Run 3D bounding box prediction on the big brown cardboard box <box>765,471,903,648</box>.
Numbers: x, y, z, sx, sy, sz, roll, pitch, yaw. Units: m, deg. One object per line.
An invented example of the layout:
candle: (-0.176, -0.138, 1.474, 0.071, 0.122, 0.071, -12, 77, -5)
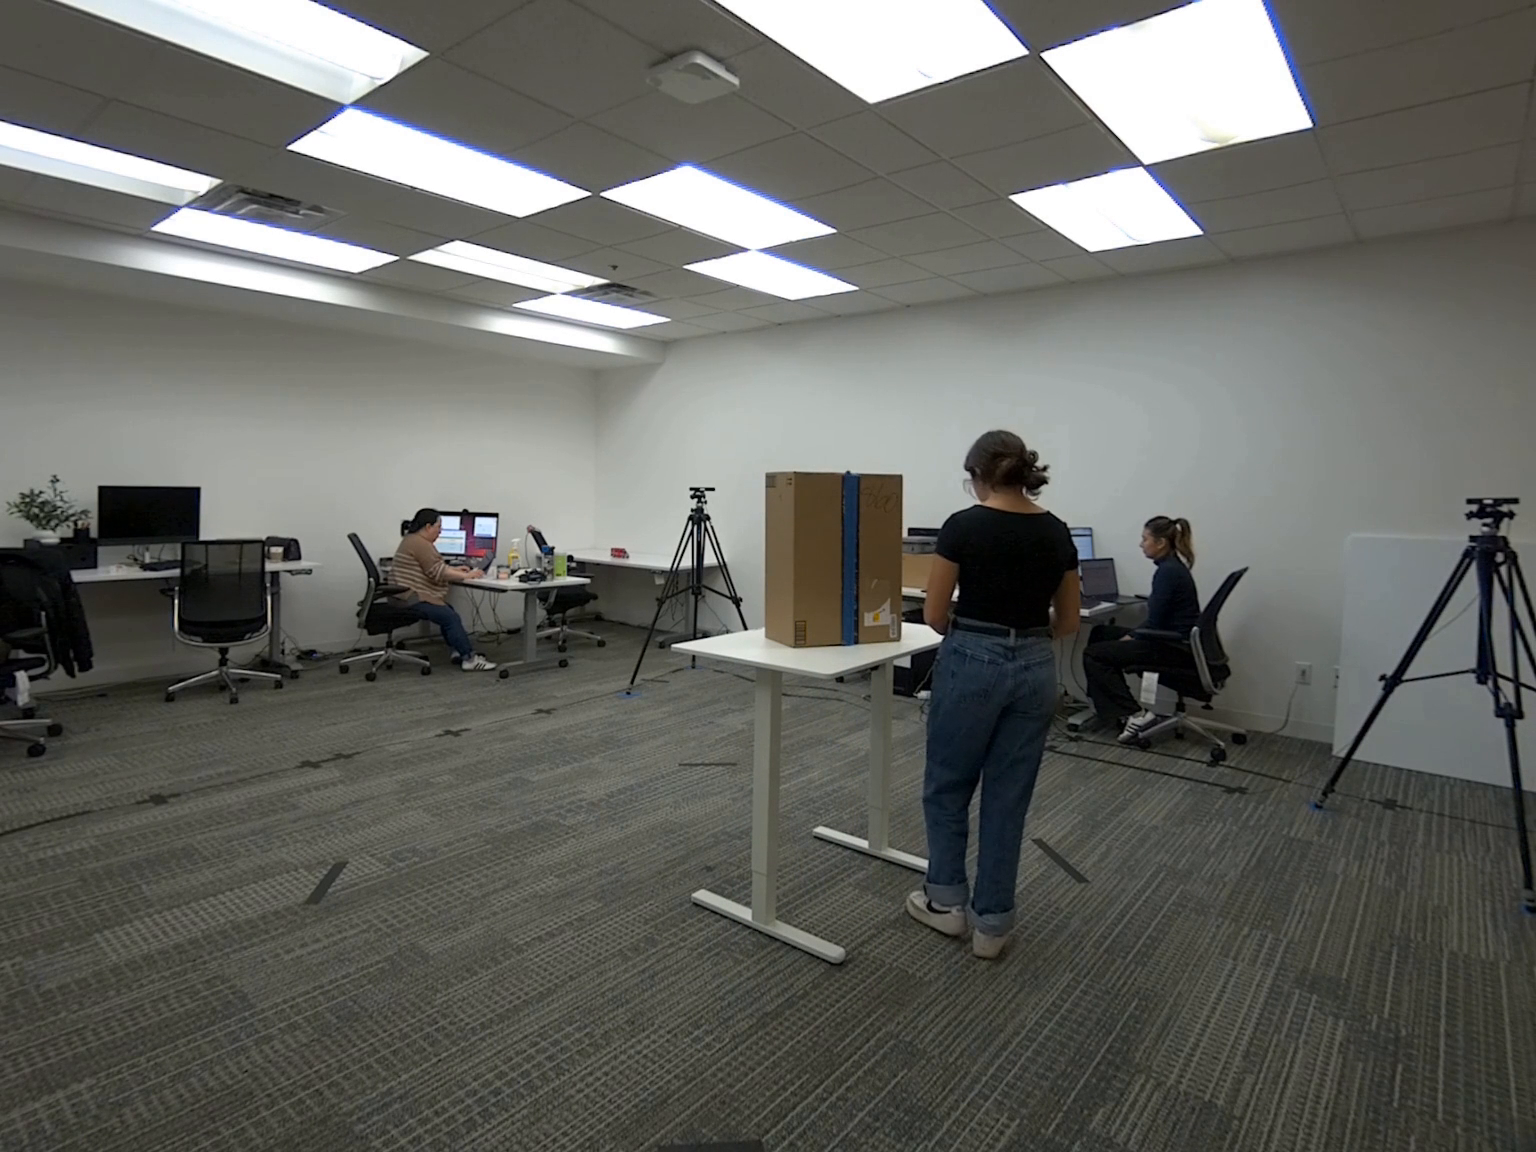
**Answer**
big brown cardboard box: (0.210, -0.063, 2.886, 0.408, 0.587, 0.239, -2, 3, -24)
